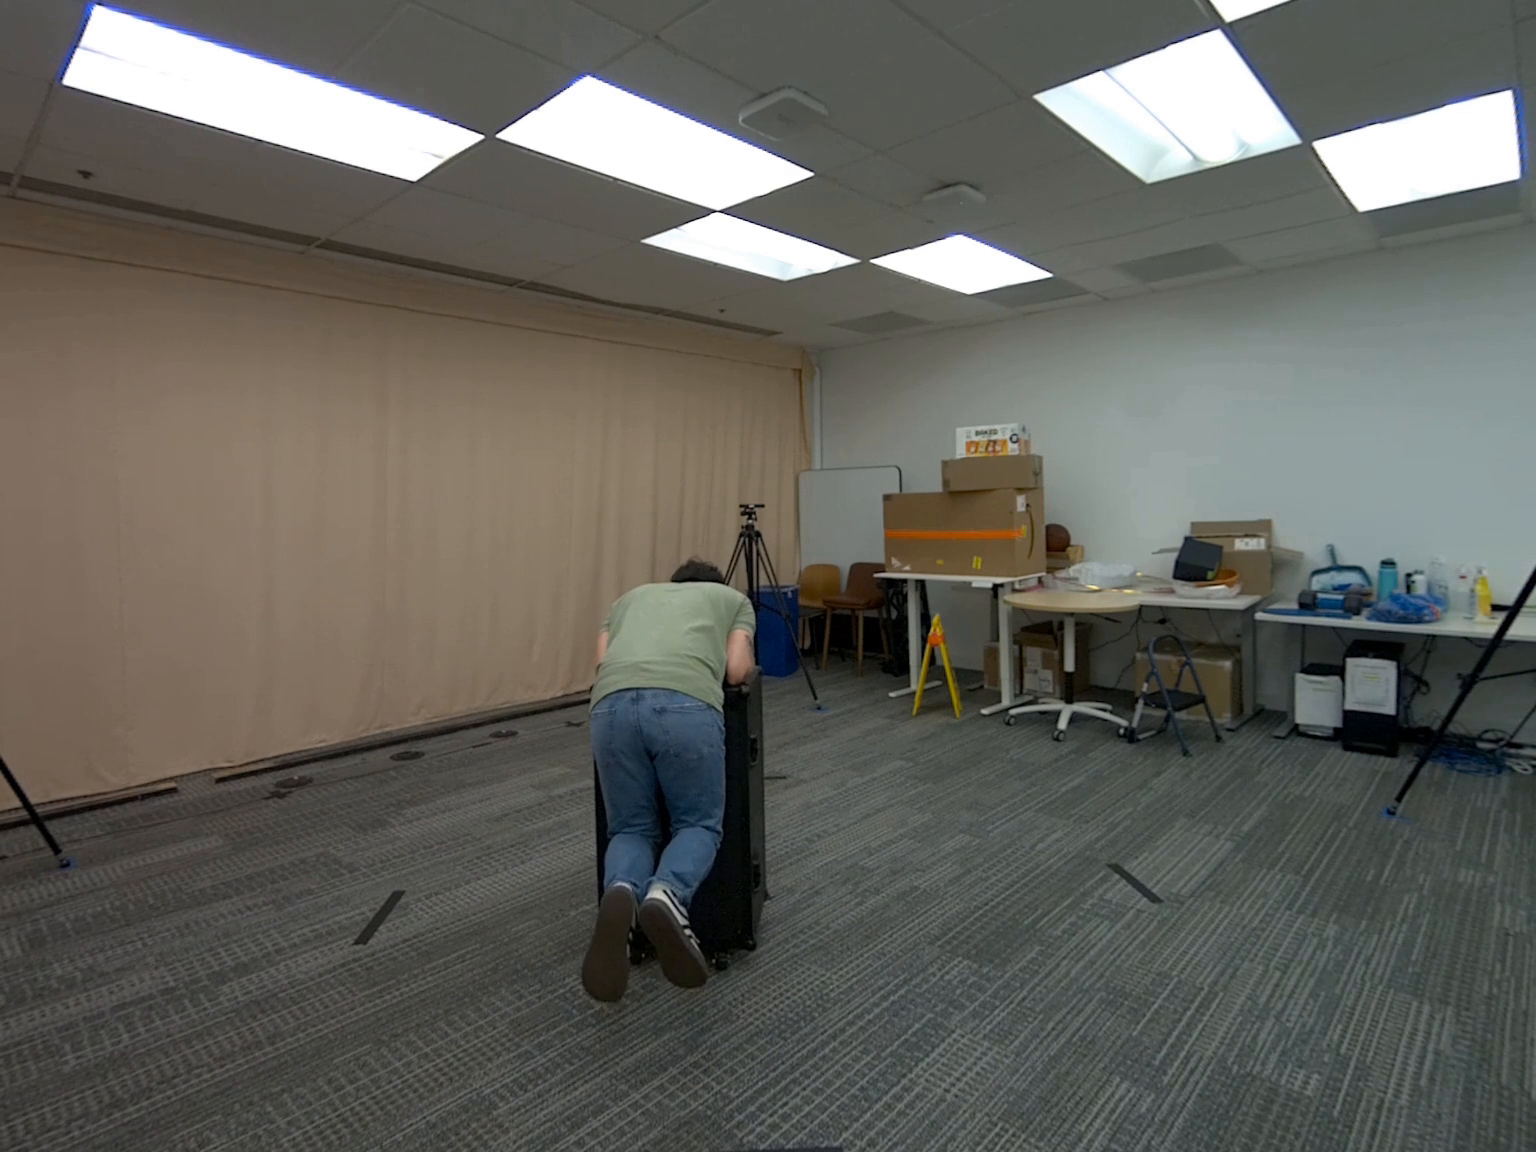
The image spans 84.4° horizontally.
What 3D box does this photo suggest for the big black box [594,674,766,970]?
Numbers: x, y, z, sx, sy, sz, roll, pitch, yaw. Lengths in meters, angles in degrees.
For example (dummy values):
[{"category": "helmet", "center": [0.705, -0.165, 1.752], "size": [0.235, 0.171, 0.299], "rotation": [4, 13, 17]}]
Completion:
[{"category": "big black box", "center": [-0.270, 0.752, 2.701], "size": [0.526, 0.860, 0.393], "rotation": [-1, 2, 8]}]
